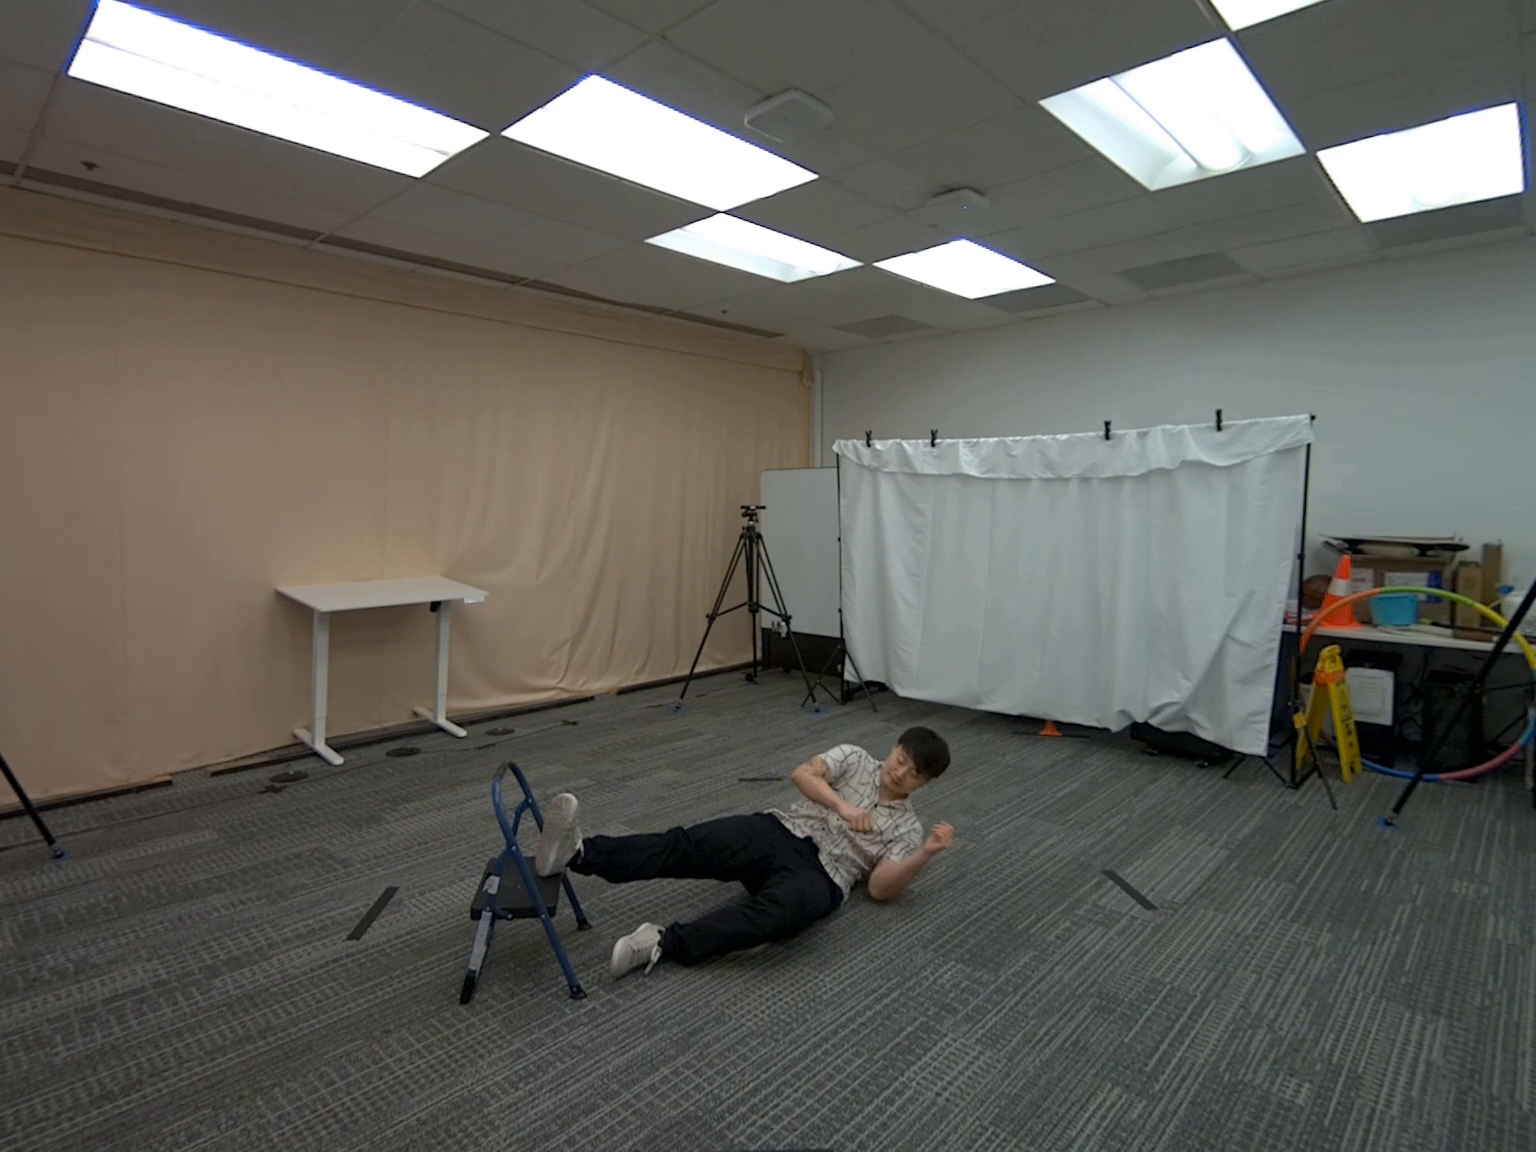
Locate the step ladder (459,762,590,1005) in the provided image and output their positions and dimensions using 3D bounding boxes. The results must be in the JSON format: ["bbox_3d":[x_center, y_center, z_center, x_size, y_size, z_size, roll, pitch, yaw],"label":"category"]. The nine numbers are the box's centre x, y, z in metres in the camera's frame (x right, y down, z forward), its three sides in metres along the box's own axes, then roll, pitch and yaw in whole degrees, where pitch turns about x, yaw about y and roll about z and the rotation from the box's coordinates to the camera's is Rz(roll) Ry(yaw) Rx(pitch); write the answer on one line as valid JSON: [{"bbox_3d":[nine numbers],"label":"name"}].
[{"bbox_3d":[-0.732,0.886,2.555,0.346,0.605,0.435,-1,3,-9],"label":"step ladder"}]
